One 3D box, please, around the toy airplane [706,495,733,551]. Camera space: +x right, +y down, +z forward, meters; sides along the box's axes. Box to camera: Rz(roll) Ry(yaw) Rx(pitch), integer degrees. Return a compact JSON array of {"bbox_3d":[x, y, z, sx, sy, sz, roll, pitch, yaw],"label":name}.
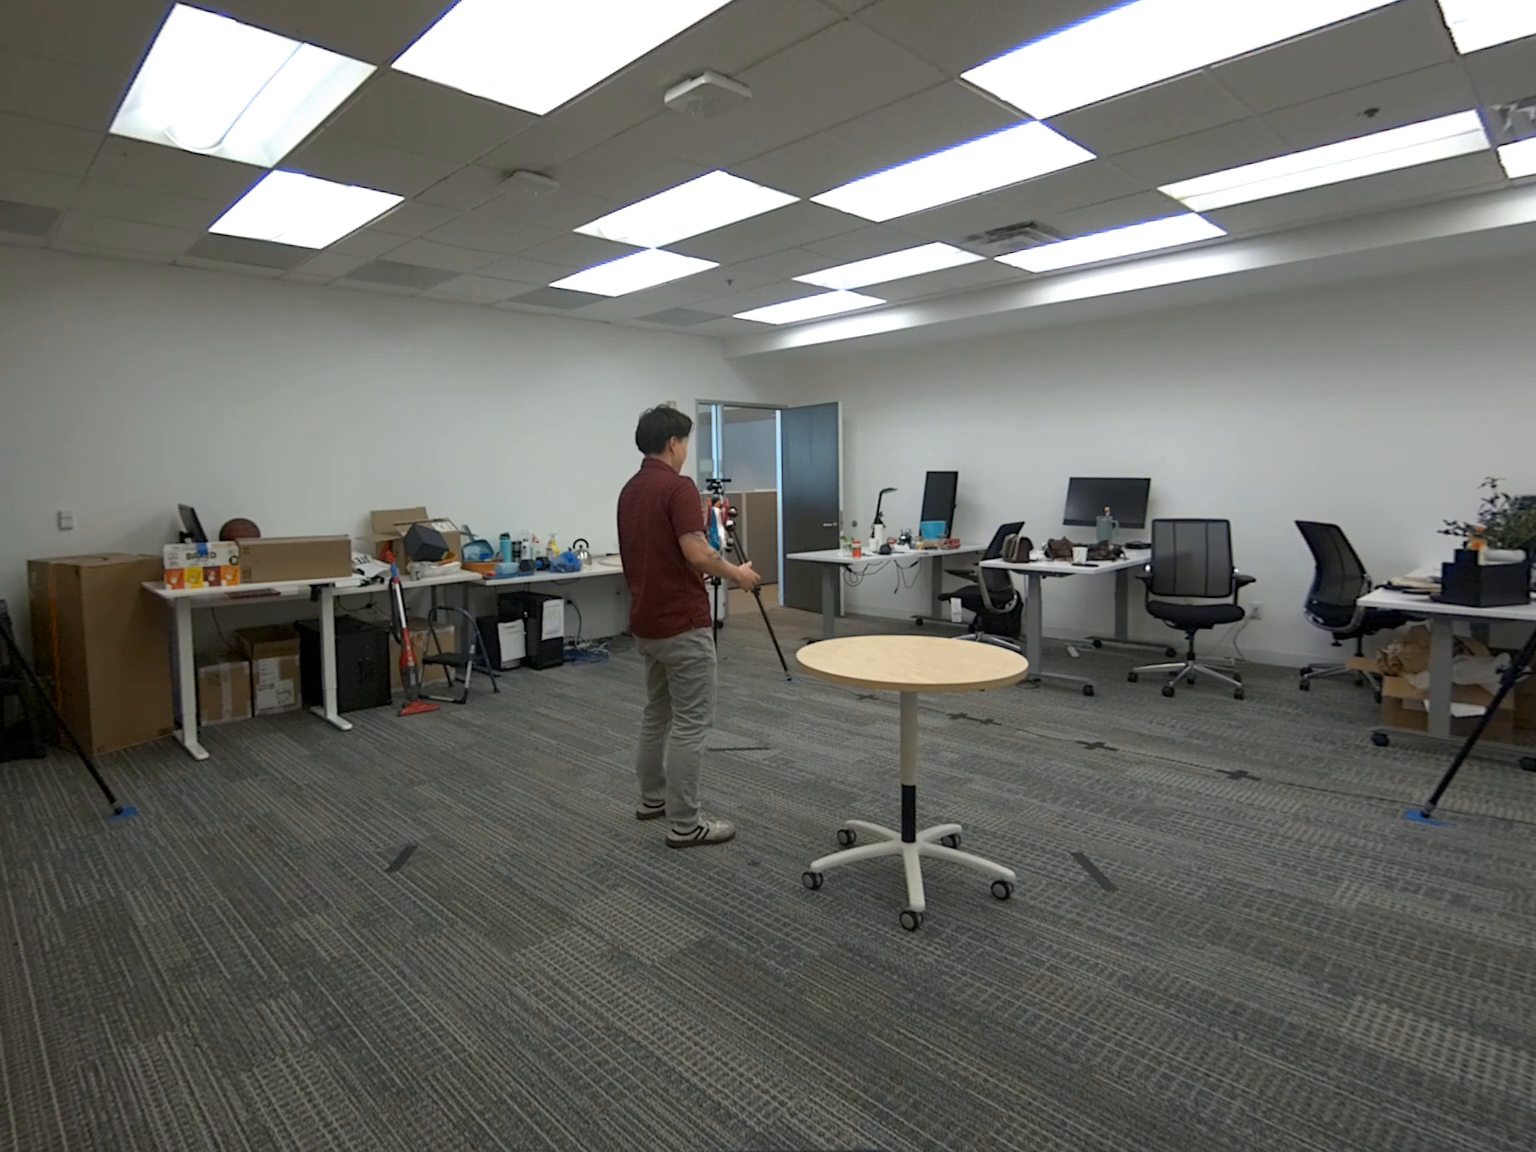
[{"bbox_3d":[-0.213,-0.217,3.747,0.156,0.248,0.262,8,17,-1],"label":"toy airplane"}]
